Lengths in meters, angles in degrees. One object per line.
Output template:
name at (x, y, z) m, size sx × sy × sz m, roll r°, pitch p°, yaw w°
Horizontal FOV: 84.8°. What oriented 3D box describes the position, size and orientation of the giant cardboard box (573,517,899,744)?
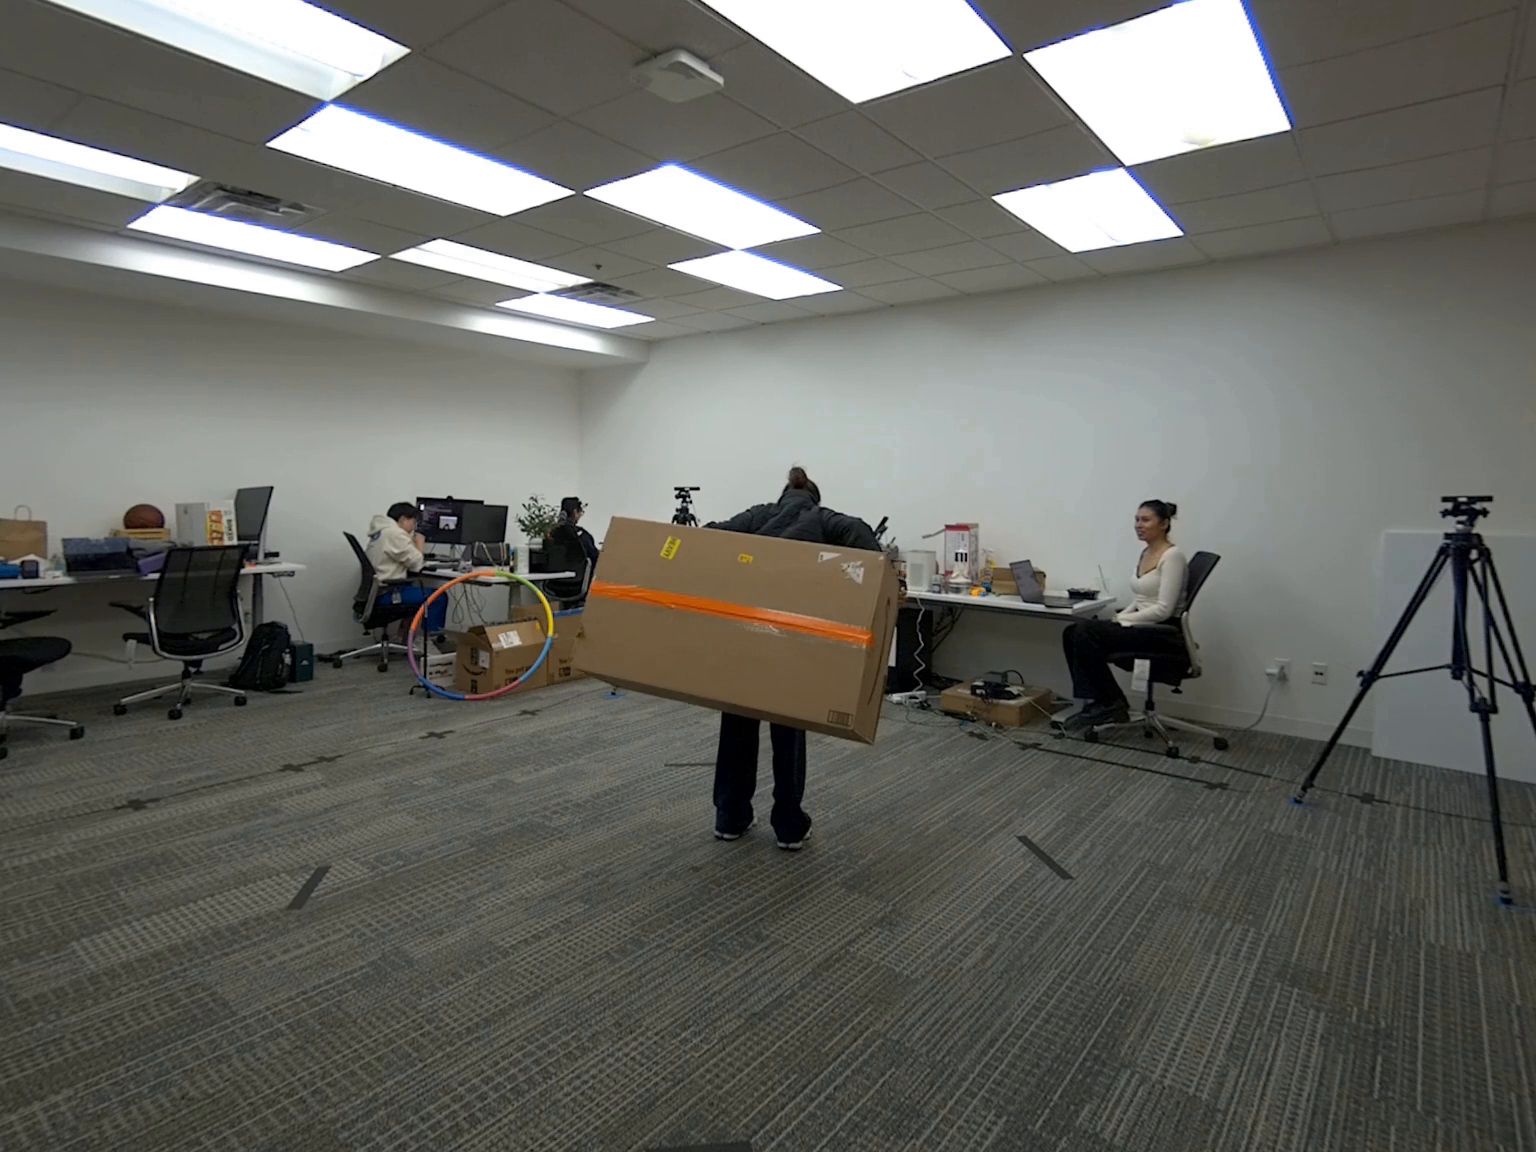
giant cardboard box at (-0.092, 0.183, 3.039) m, size 1.052 × 0.583 × 0.411 m, roll 8°, pitch -15°, yaw 22°
